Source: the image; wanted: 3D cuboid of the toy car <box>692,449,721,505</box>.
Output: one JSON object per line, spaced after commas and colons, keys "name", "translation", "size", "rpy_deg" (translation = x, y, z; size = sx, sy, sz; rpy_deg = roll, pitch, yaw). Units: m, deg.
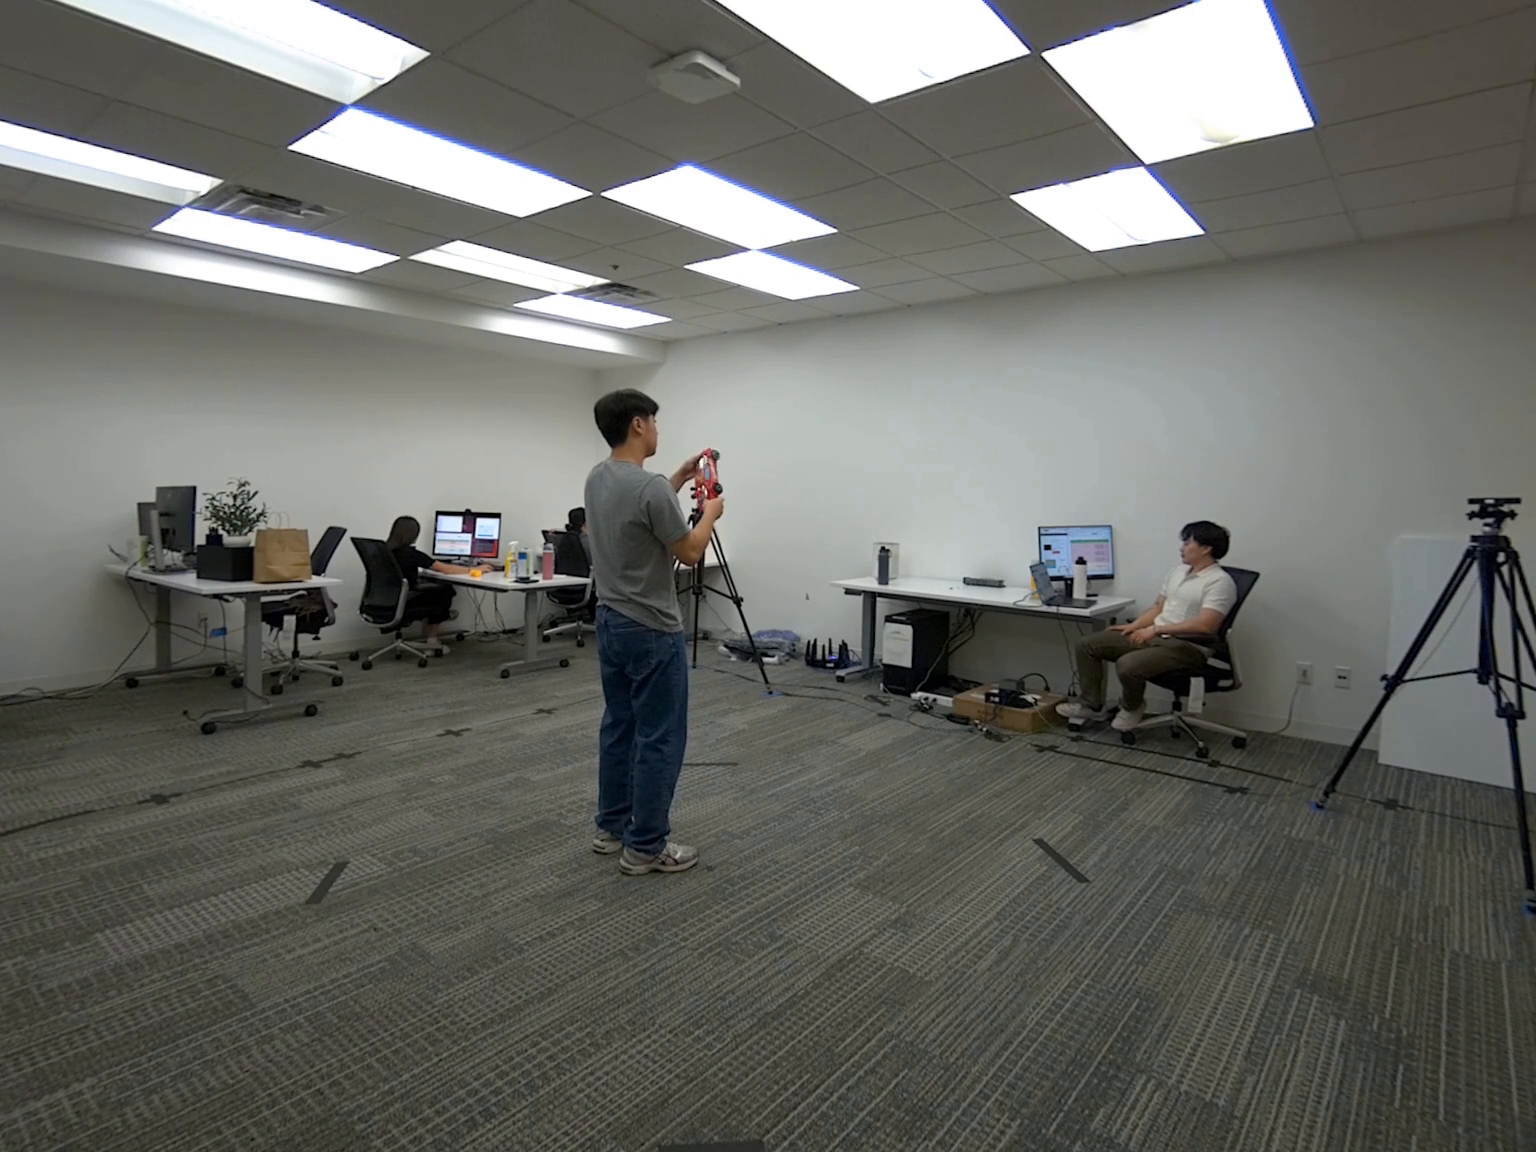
{"name": "toy car", "translation": [-0.251, -0.381, 3.376], "size": [0.080, 0.259, 0.132], "rpy_deg": [22, -29, -33]}
